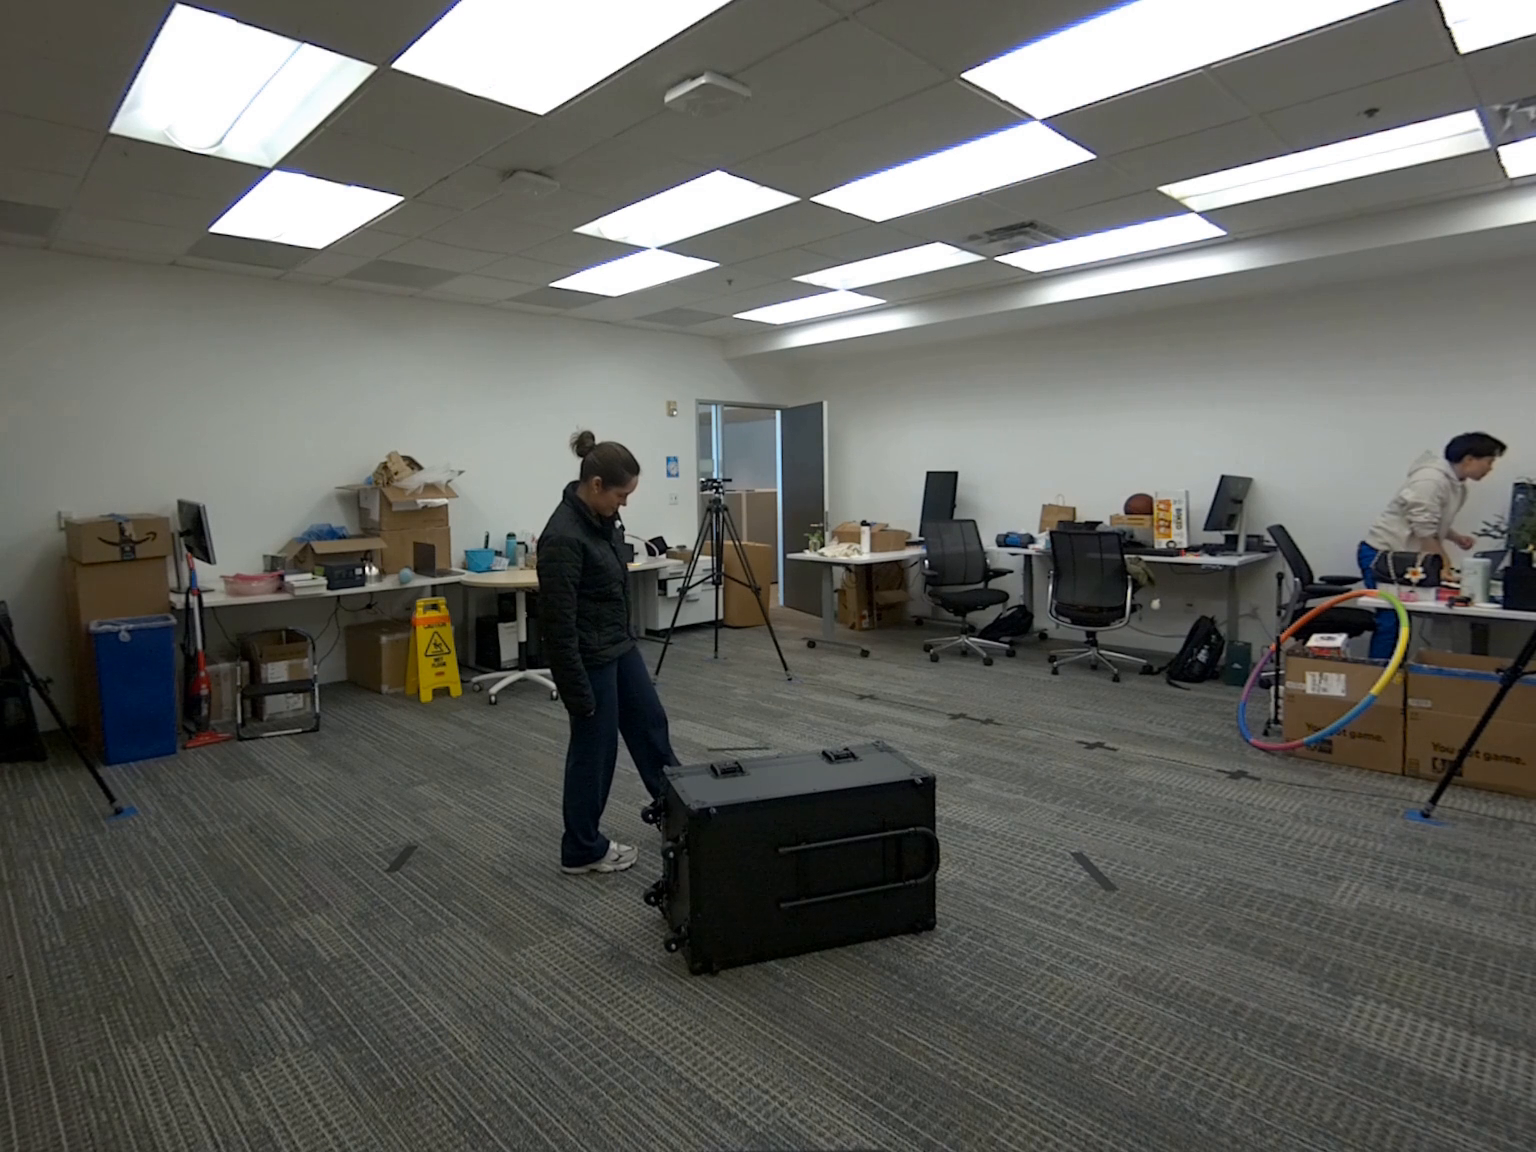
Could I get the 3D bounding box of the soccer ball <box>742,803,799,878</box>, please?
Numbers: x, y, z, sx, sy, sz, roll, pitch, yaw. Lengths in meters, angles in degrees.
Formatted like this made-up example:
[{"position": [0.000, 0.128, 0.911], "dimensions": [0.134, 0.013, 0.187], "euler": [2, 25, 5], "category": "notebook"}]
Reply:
[{"position": [0.003, 0.946, 3.080], "dimensions": [0.187, 0.187, 0.188], "euler": [-1, 5, -2], "category": "soccer ball"}]
